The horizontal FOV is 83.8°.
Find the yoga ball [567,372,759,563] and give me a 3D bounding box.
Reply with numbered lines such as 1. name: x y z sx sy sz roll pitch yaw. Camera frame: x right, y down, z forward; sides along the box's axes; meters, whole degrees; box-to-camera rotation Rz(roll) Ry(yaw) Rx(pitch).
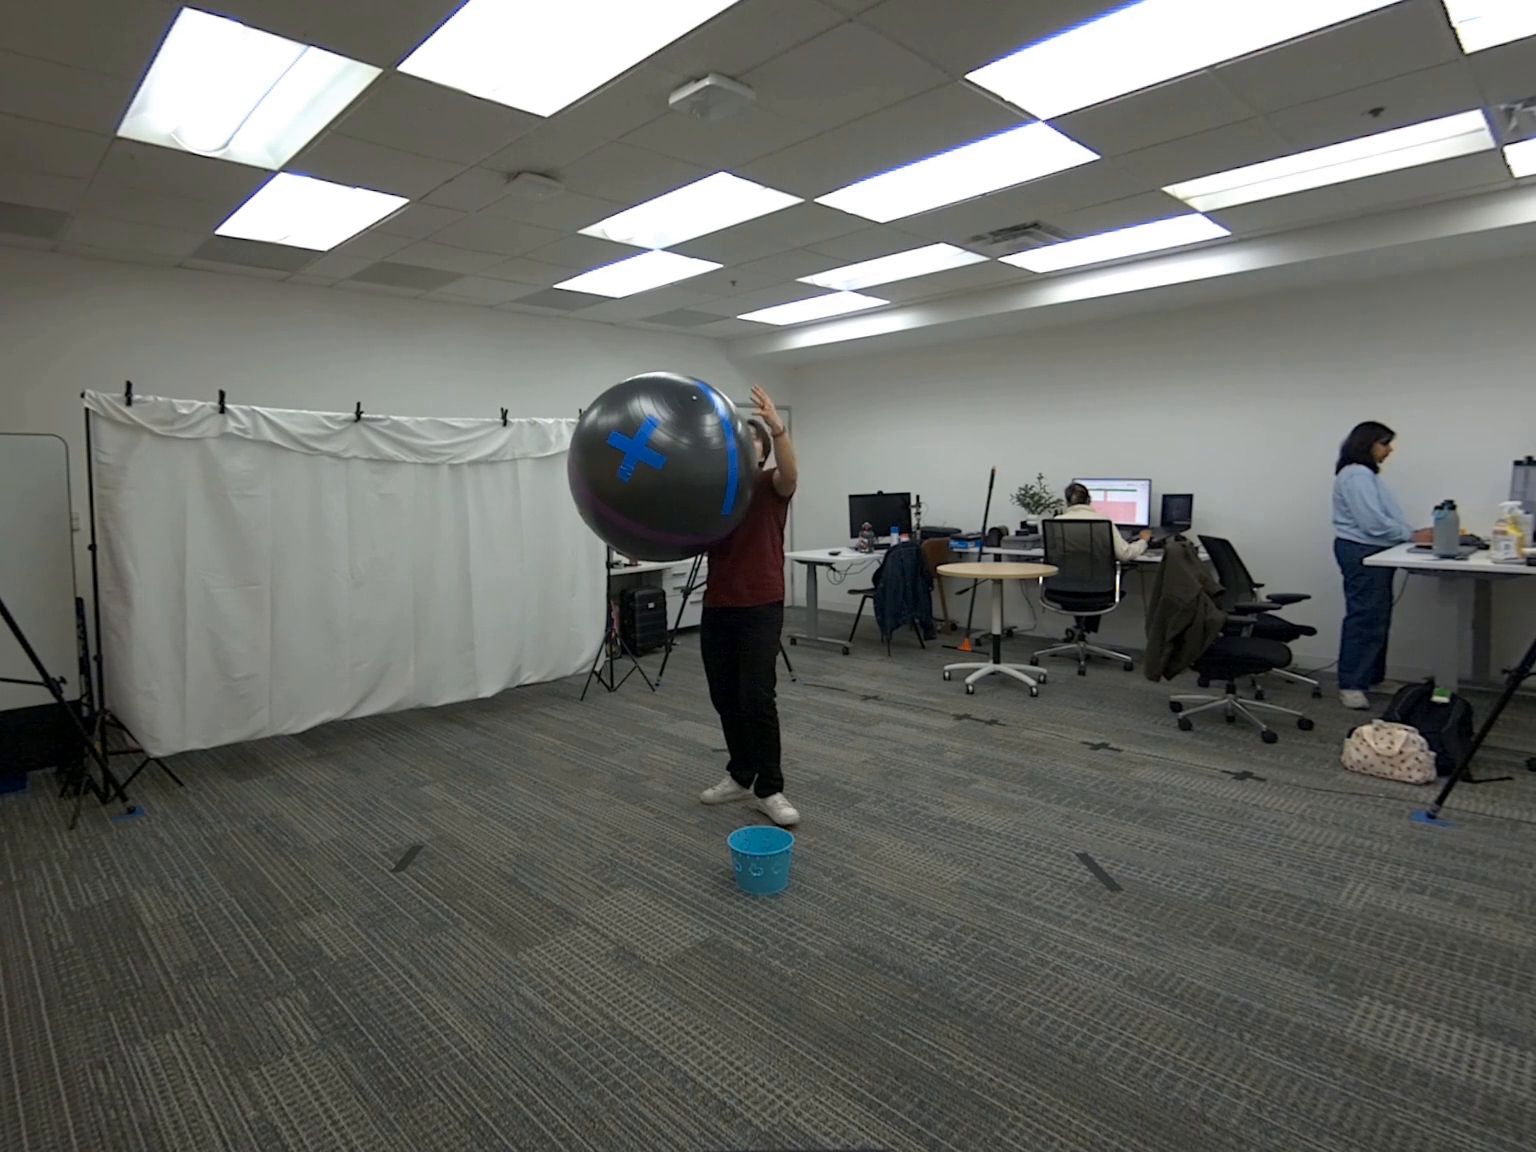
1. yoga ball: -0.422 -0.427 3.428 0.757 0.755 0.762 -1 5 -2
